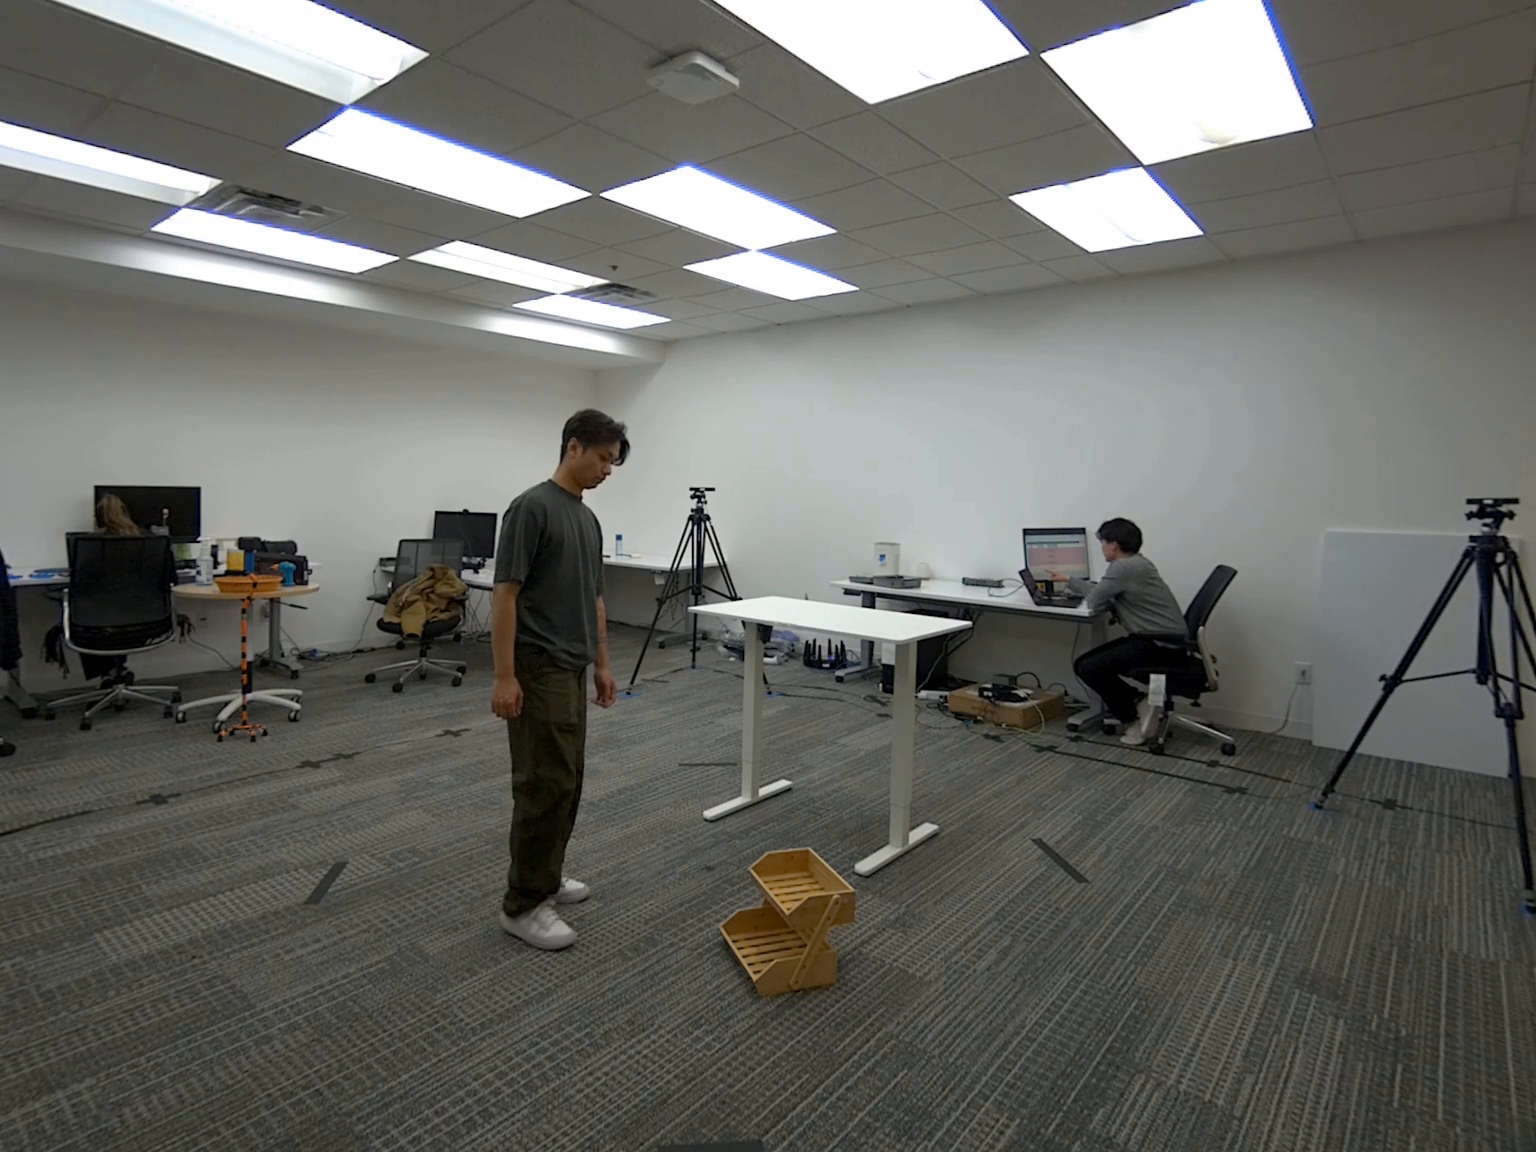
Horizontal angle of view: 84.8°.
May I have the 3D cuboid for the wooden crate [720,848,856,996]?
[{"bbox_3d":[0.028,1.005,2.492,0.295,0.272,0.333,0,5,-22],"label":"wooden crate"}]
